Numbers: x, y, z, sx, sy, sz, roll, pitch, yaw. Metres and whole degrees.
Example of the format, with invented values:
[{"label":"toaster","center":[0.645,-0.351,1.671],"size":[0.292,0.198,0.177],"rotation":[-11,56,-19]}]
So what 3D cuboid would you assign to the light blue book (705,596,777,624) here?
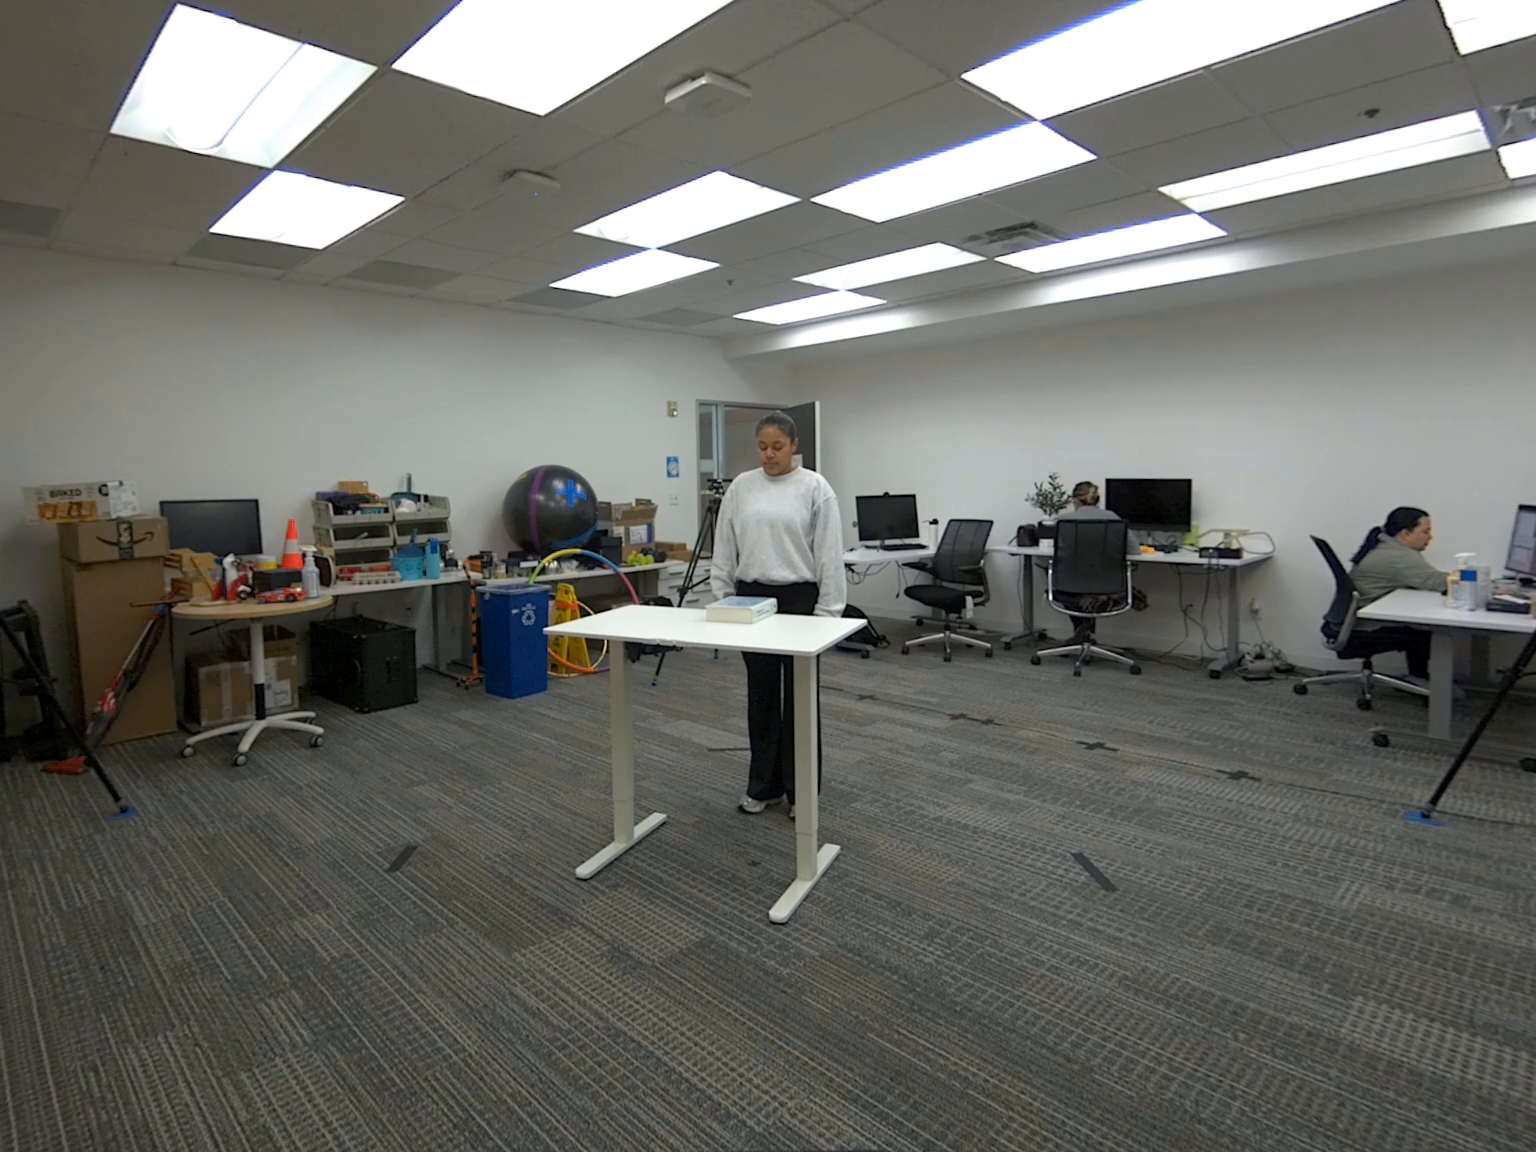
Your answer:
[{"label":"light blue book","center":[-0.118,0.126,3.187],"size":[0.195,0.059,0.257],"rotation":[2,7,20]}]
